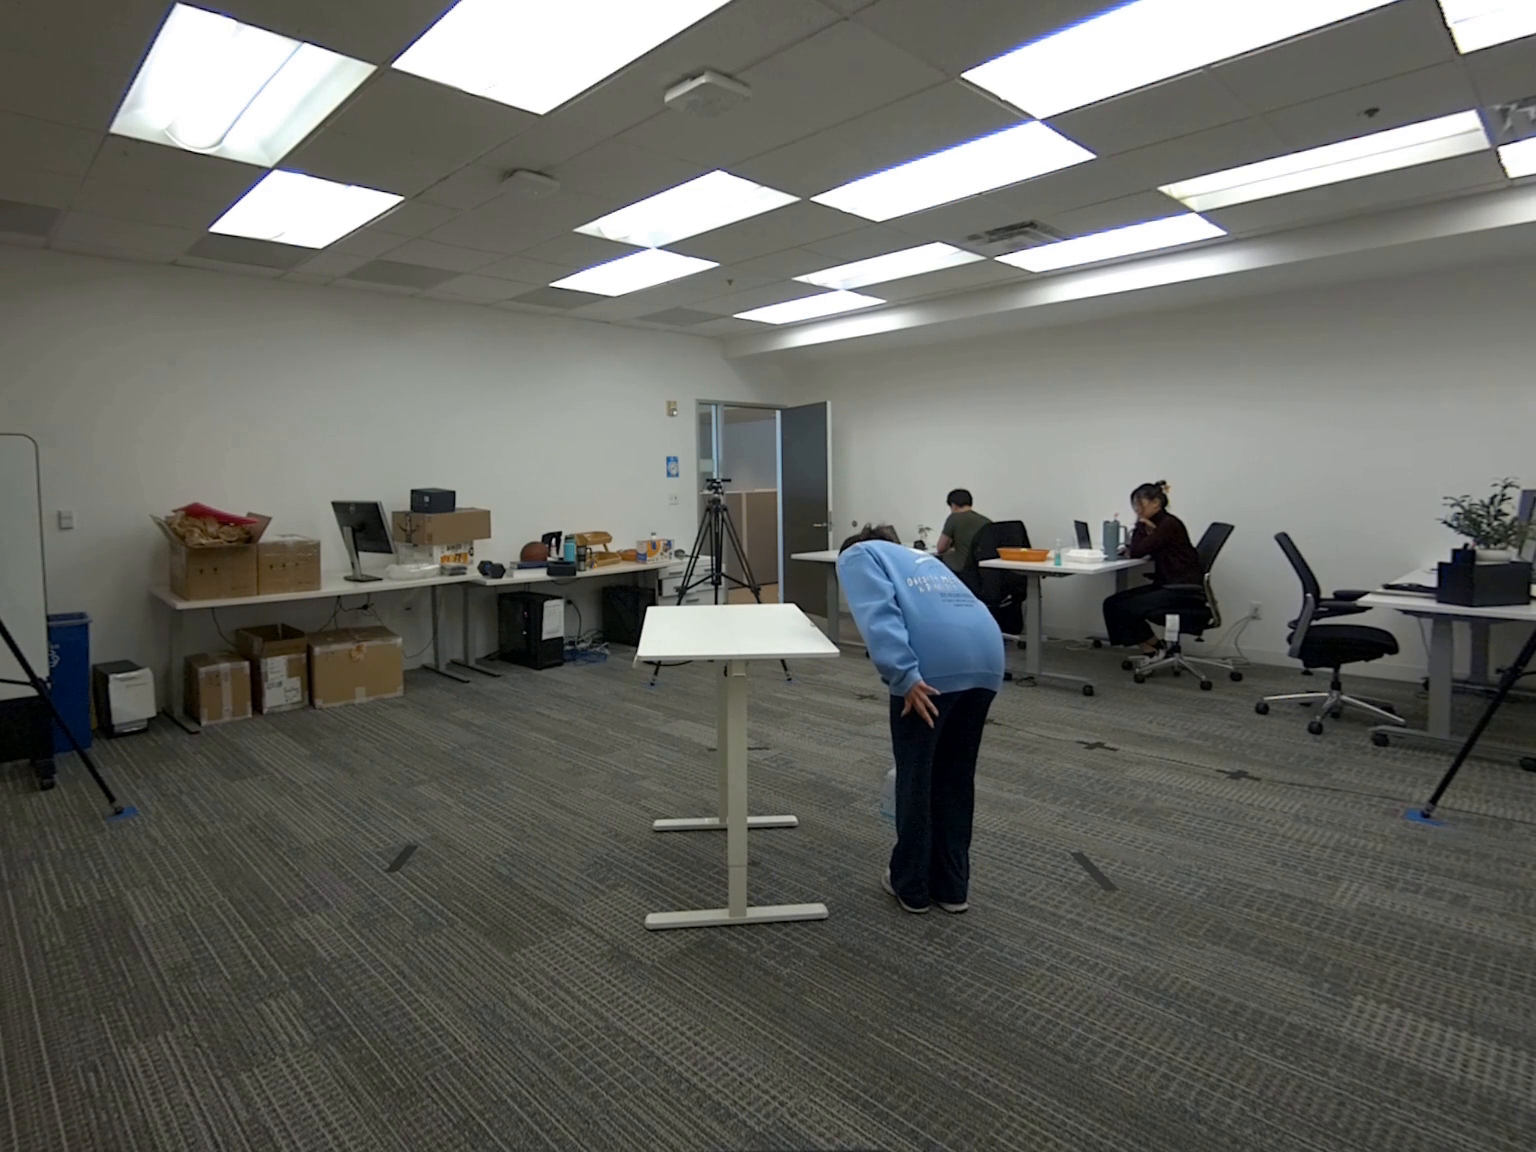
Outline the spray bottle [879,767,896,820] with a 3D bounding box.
[{"bbox_3d":[0.510,0.774,3.252,0.087,0.297,0.090,9,-1,-38],"label":"spray bottle"}]
